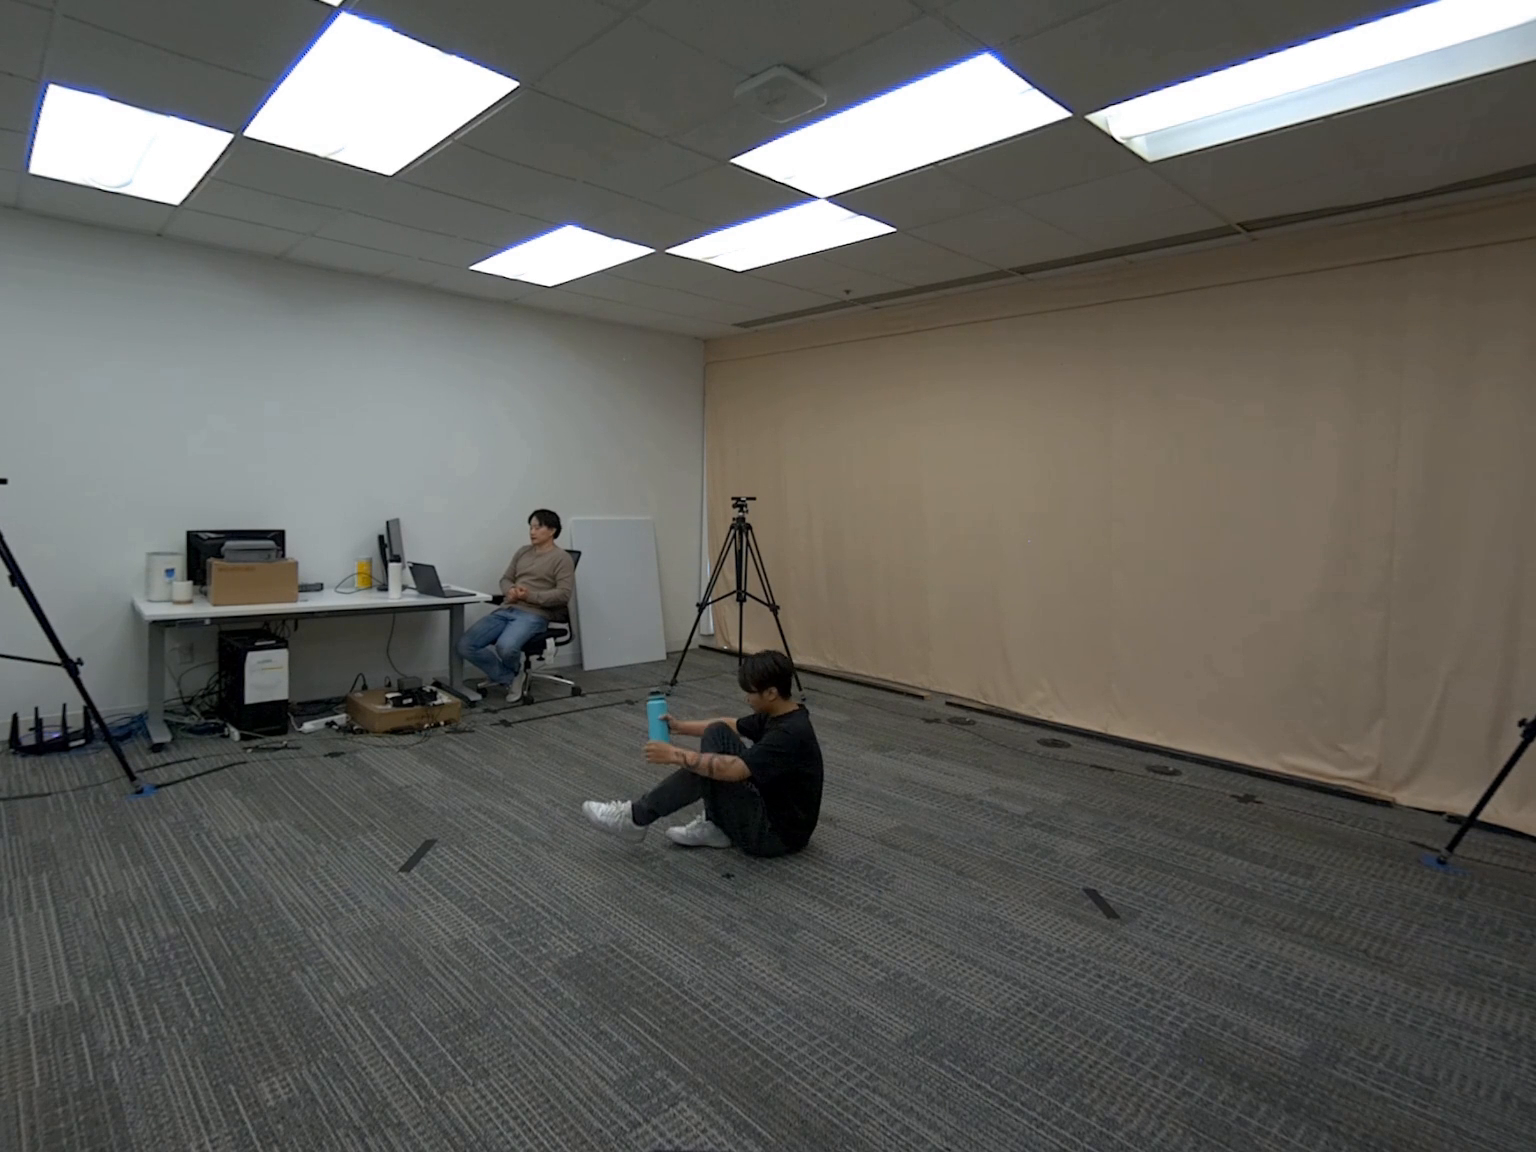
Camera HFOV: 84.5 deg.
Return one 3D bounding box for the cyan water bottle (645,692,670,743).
[{"bbox_3d":[-0.500,0.637,3.719,0.092,0.286,0.091,-4,-11,-2],"label":"cyan water bottle"}]
